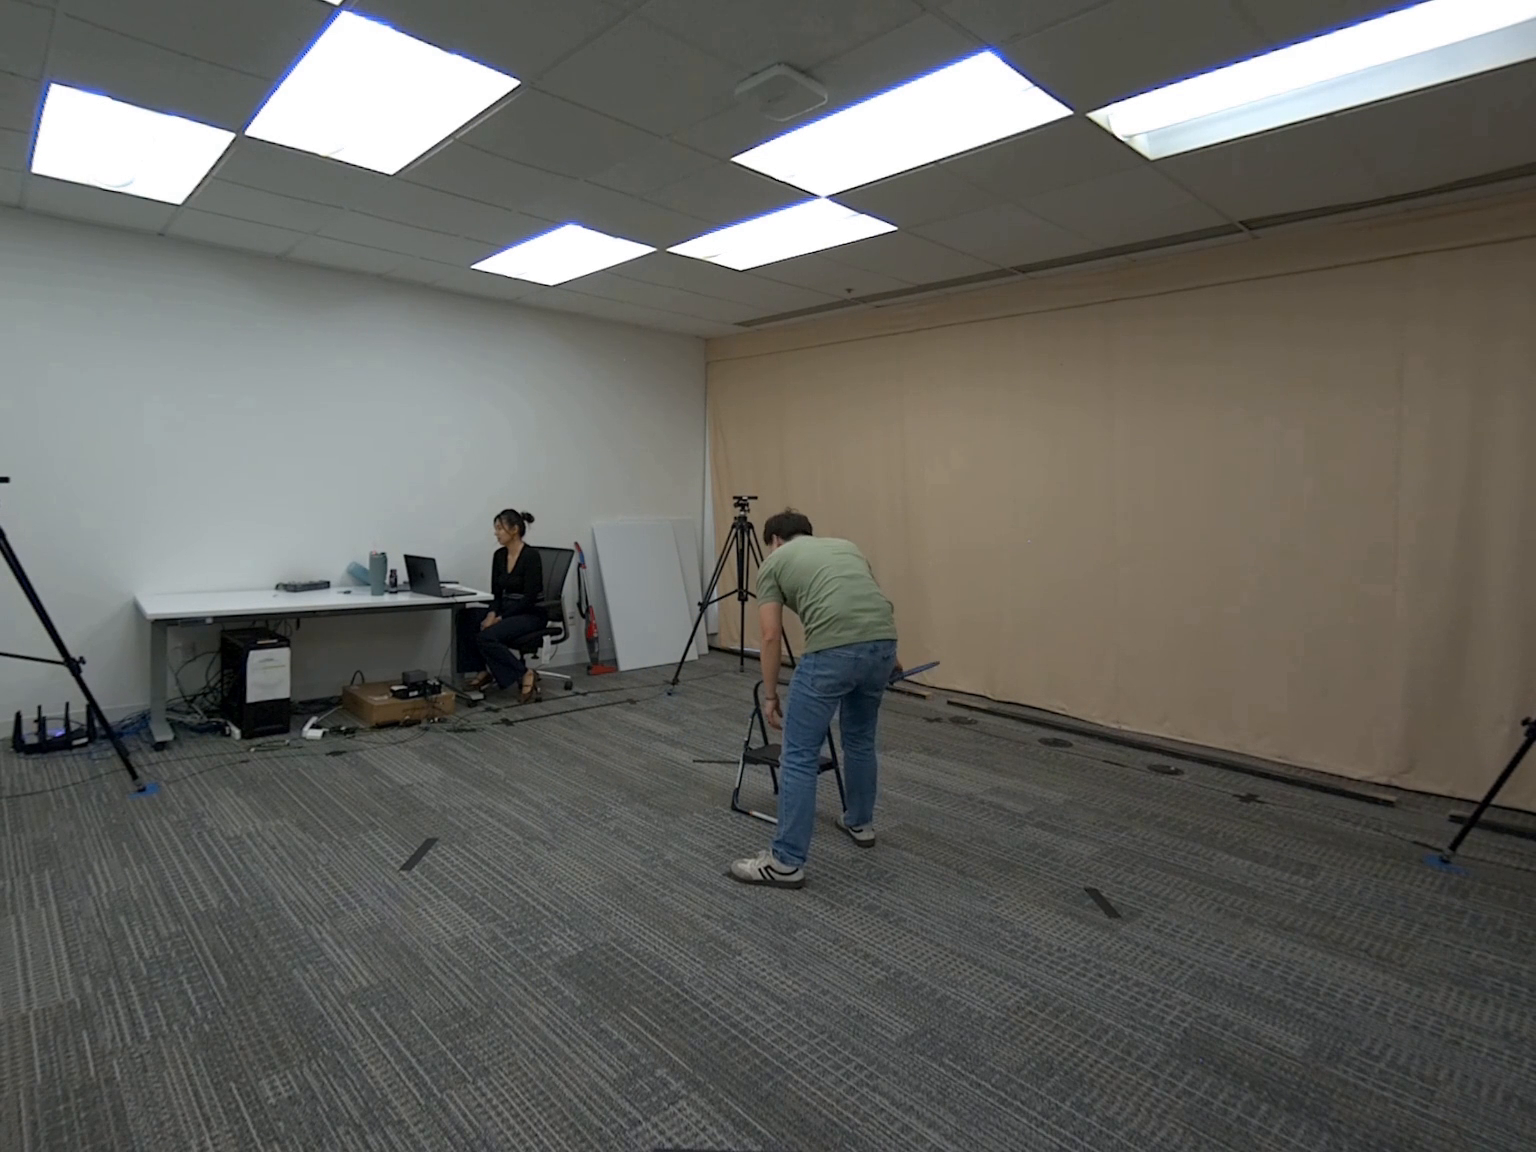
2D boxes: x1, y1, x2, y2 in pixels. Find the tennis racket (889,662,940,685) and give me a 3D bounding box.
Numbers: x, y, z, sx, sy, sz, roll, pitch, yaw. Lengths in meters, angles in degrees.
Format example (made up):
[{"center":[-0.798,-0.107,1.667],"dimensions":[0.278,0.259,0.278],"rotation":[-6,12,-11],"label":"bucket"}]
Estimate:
[{"center":[0.558,0.444,3.664],"dimensions":[0.210,0.032,0.436],"rotation":[-11,-11,-36],"label":"tennis racket"}]
